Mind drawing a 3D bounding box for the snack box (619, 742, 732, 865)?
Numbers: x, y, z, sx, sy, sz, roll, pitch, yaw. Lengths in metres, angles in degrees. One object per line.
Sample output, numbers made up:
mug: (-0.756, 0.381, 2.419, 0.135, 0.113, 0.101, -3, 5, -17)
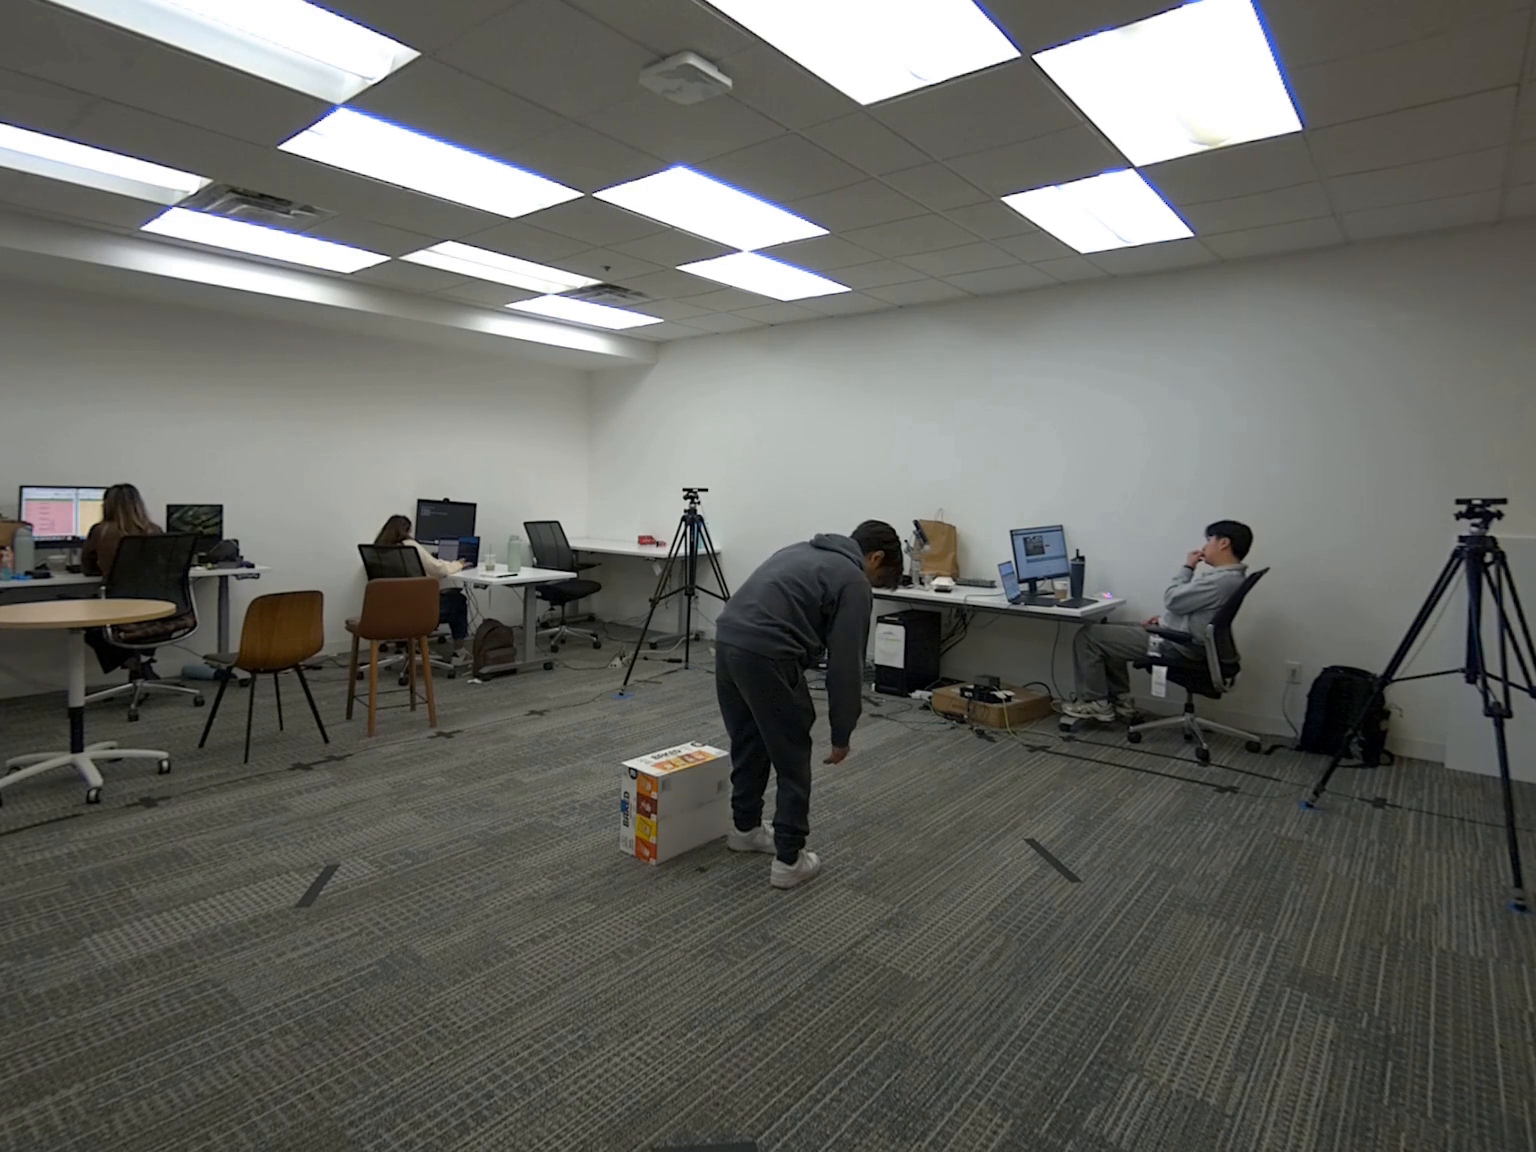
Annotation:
snack box: (-0.373, 0.877, 3.335, 0.213, 0.339, 0.393, 6, 6, 40)
